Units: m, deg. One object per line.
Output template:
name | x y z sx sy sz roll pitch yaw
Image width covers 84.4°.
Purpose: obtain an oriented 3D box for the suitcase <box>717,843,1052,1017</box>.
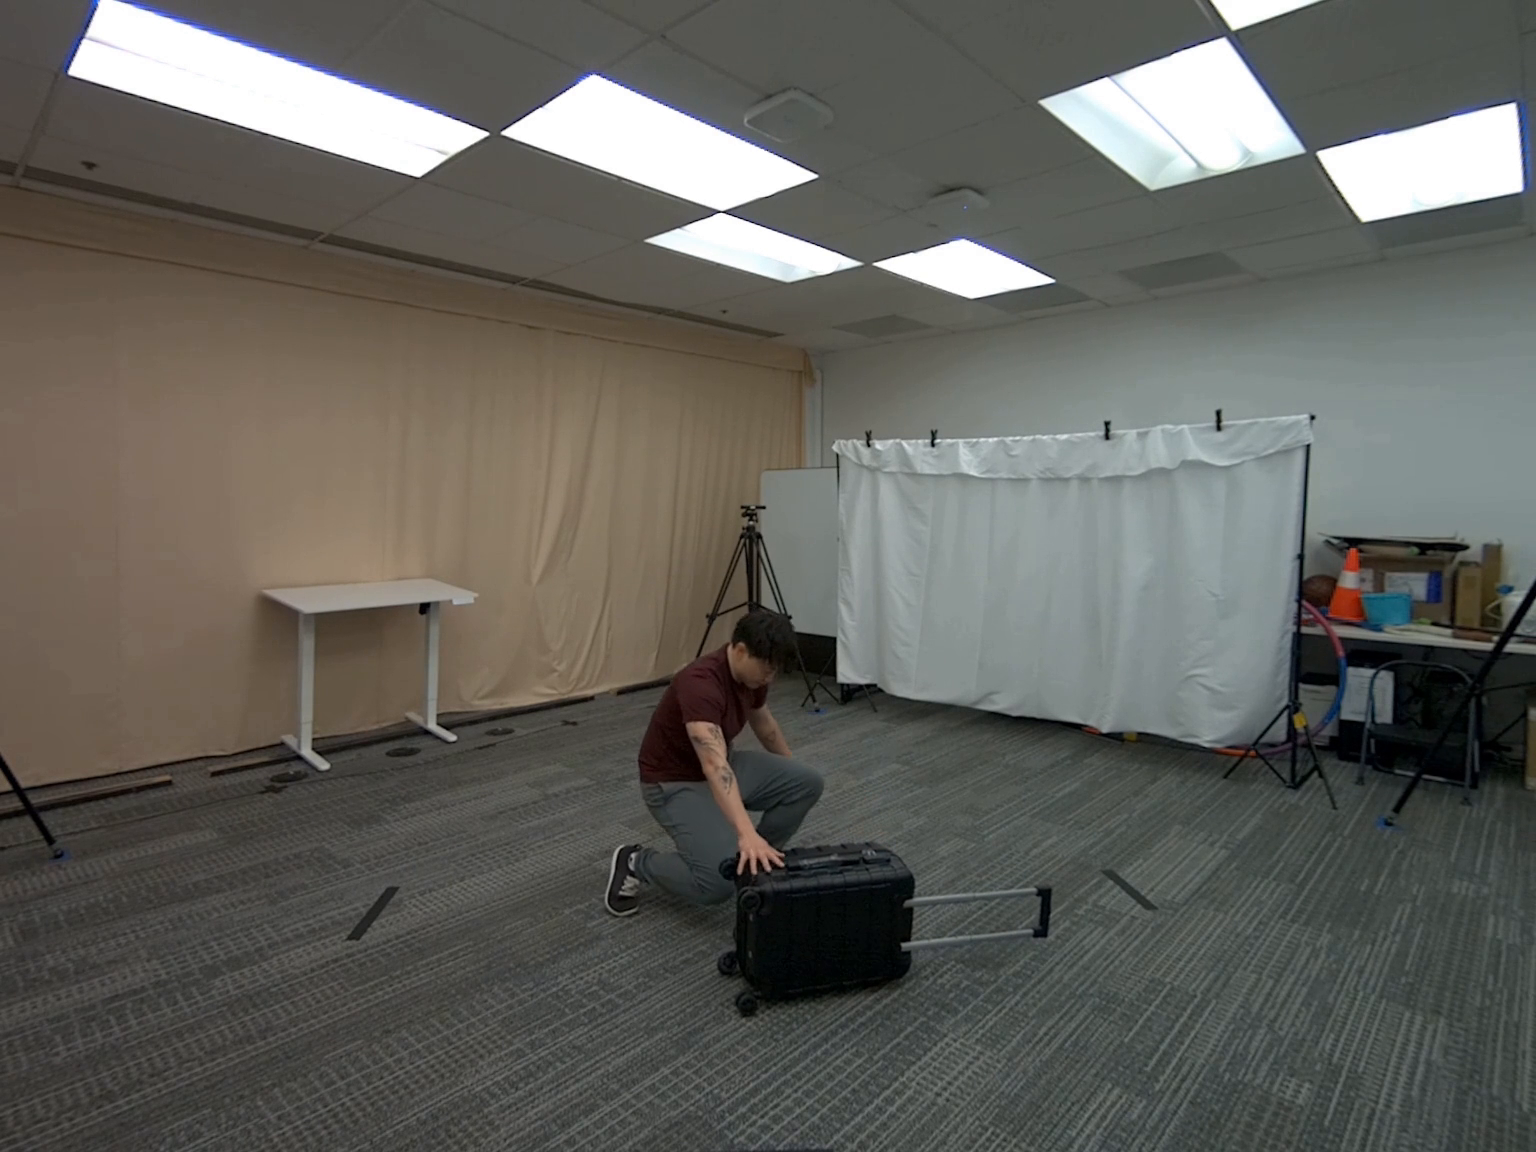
suitcase | 0.358 0.993 2.526 0.961 0.383 0.262 -1 4 -18
